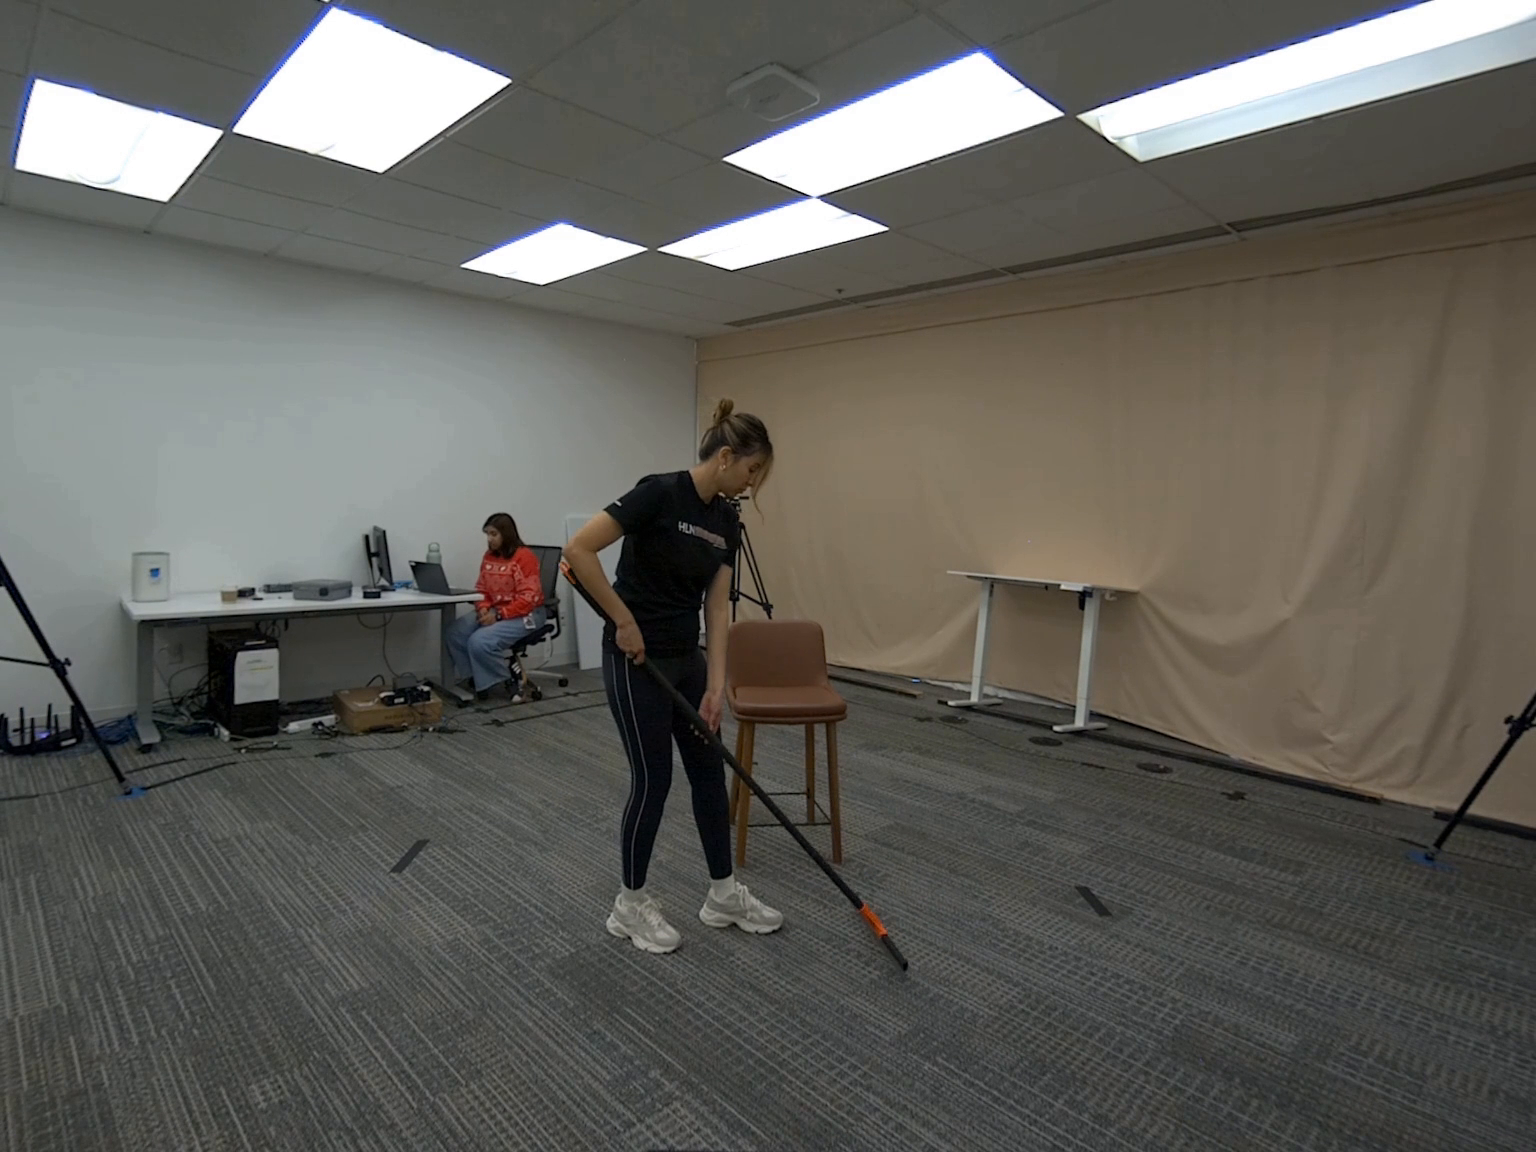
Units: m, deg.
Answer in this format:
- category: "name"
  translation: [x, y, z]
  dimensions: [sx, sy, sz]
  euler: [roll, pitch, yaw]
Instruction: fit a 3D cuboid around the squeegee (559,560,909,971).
- category: "squeegee"
  translation: [-0.110, 0.538, 2.493]
  dimensions: [0.053, 1.517, 0.444]
  euler: [-41, 12, -8]
